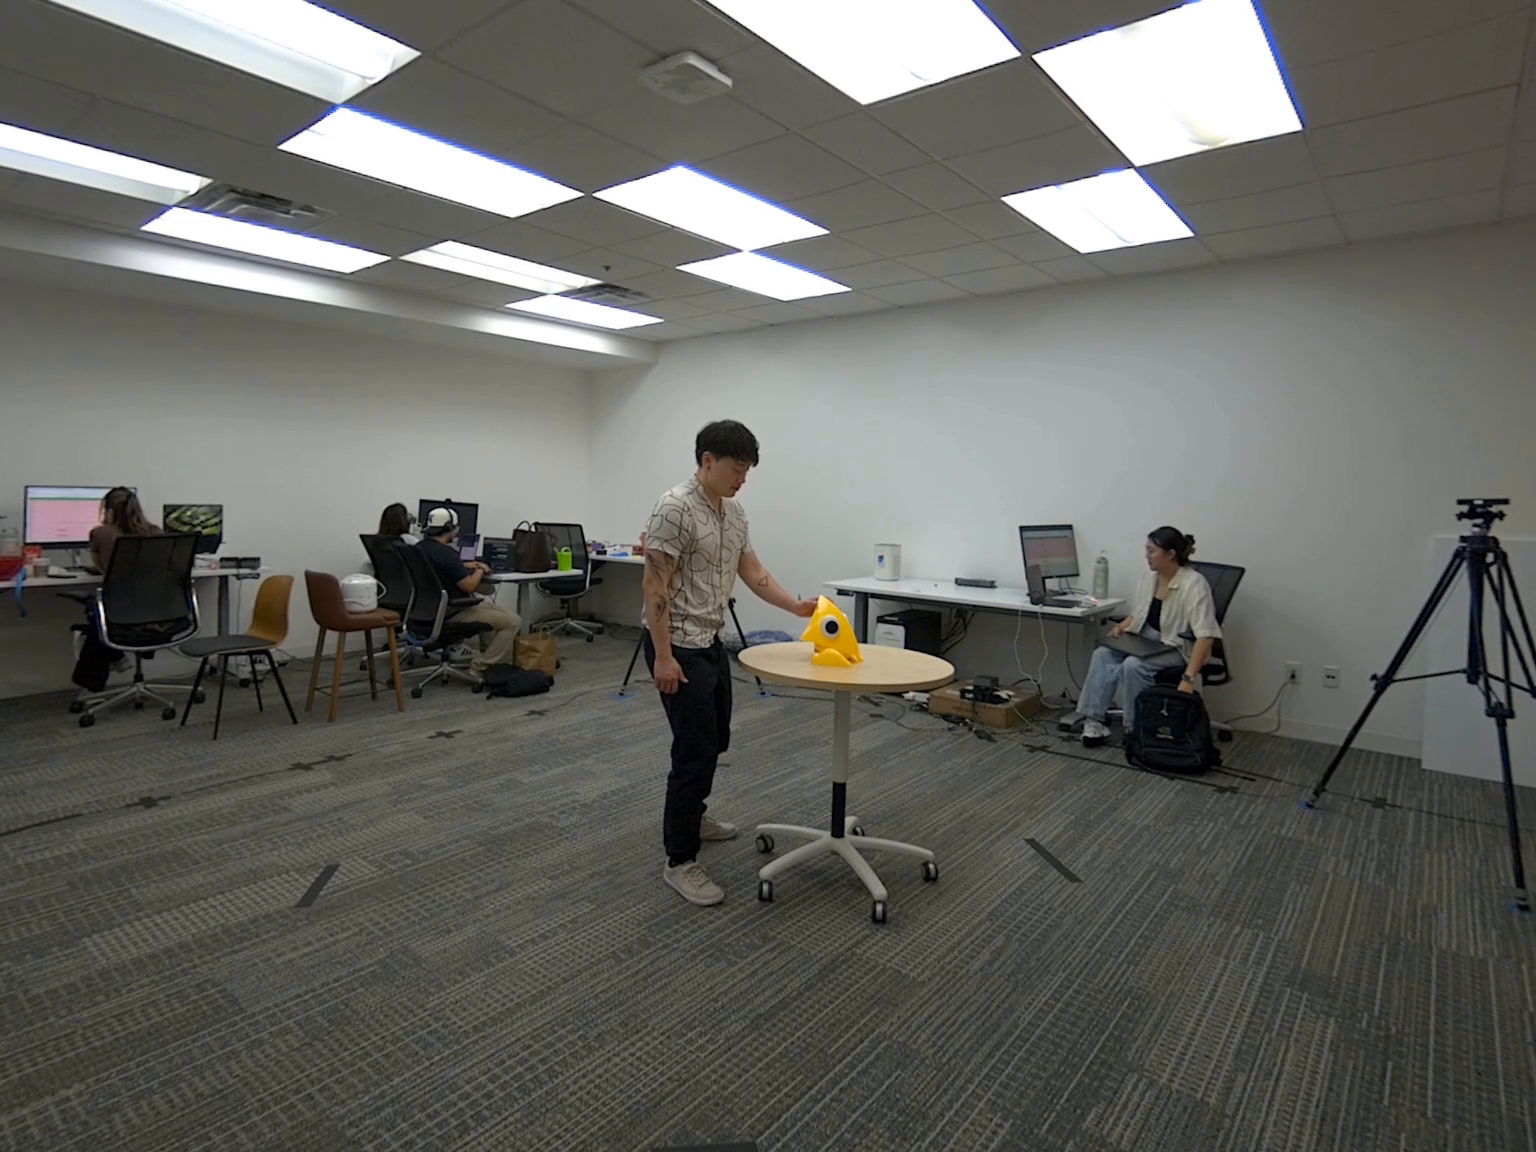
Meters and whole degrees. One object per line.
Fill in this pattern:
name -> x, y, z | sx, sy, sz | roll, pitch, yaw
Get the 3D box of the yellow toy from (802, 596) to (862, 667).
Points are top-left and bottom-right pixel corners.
yellow toy -> 0.231, 0.191, 3.042 | 0.199, 0.230, 0.199 | 4, 5, 29
